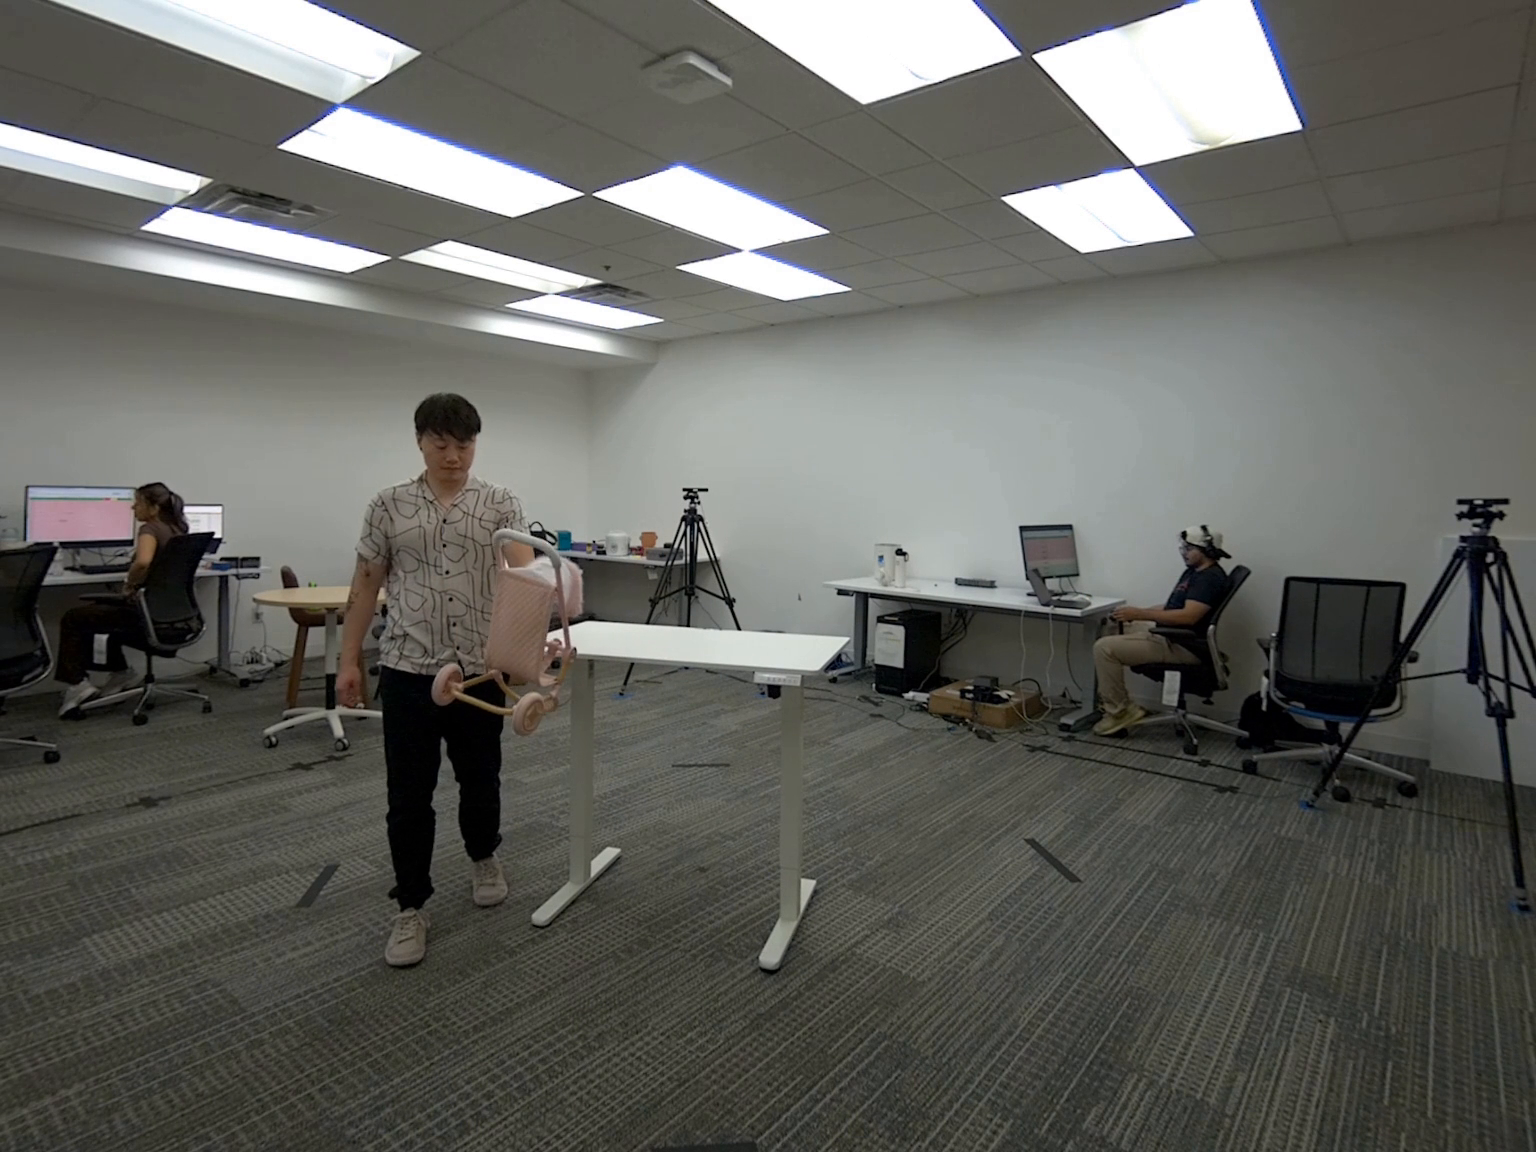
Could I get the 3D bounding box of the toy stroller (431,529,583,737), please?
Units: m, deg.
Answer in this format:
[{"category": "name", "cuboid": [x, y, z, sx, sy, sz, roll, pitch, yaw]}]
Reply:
[{"category": "toy stroller", "cuboid": [-0.653, 0.174, 2.267, 0.289, 0.536, 0.332, 14, -4, 20]}]
